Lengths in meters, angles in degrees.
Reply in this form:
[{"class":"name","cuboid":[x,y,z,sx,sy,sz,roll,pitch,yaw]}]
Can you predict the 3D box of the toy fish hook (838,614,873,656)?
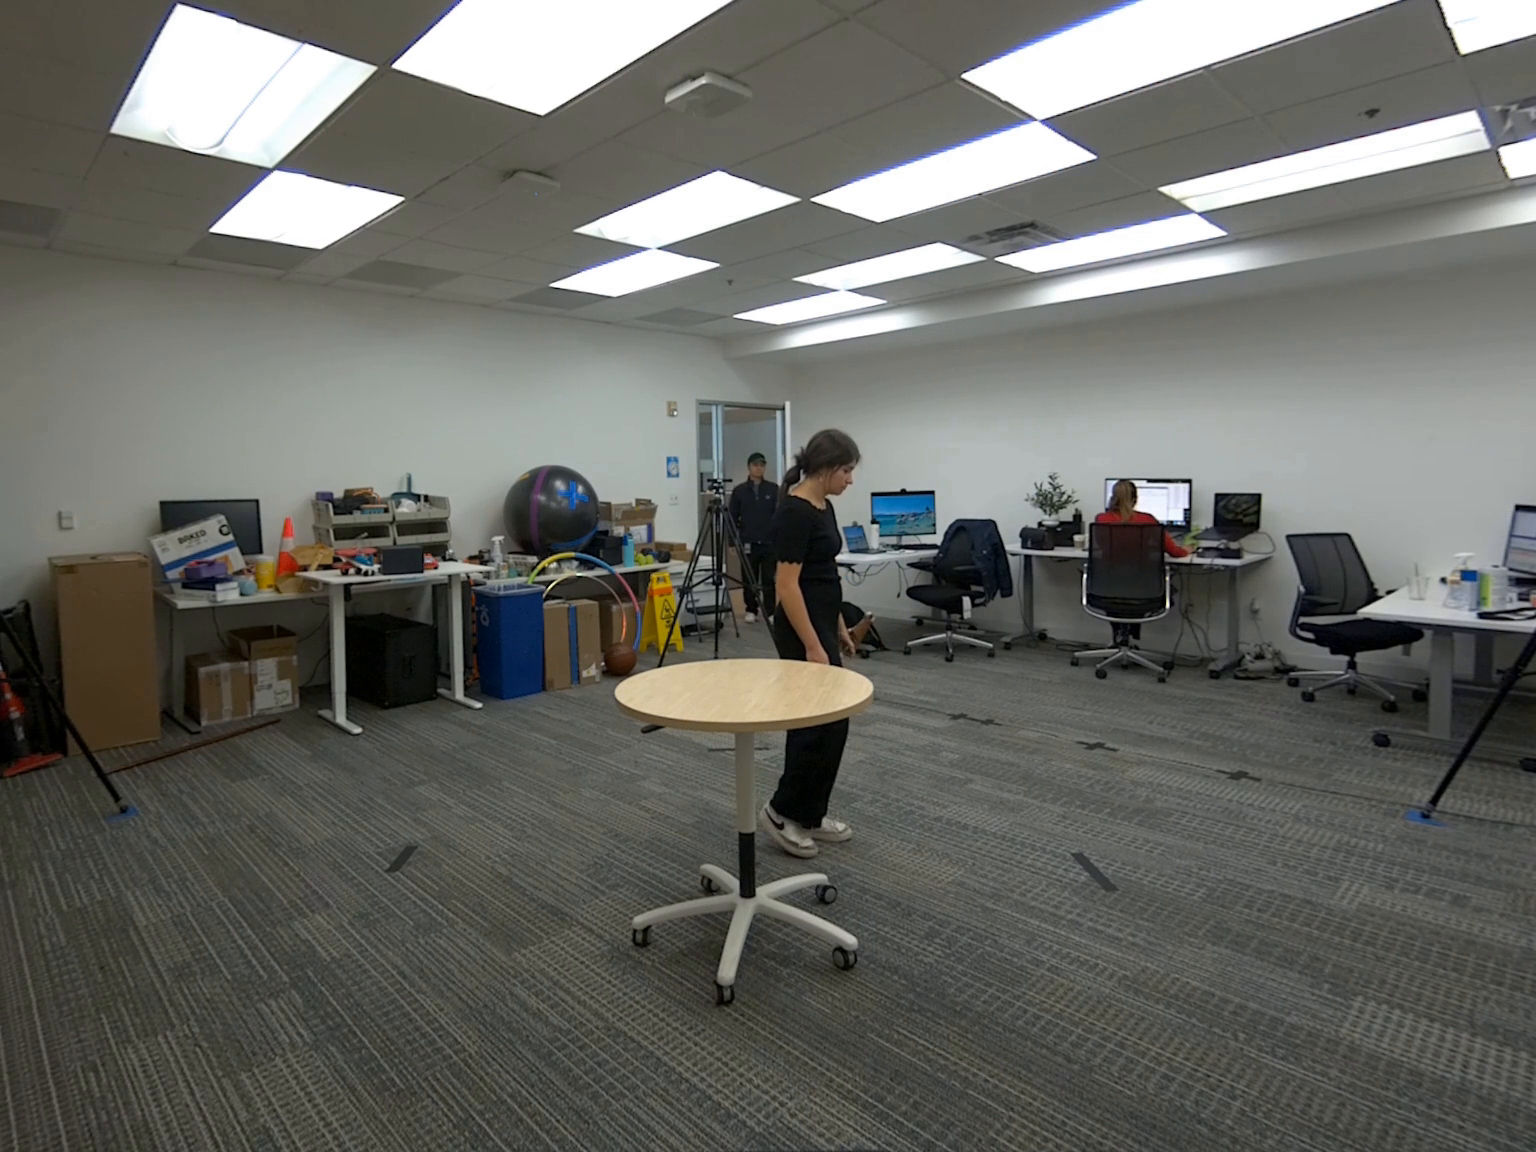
[{"class":"toy fish hook","cuboid":[0.329,0.387,3.461,0.225,0.506,0.048,31,2,3]}]
